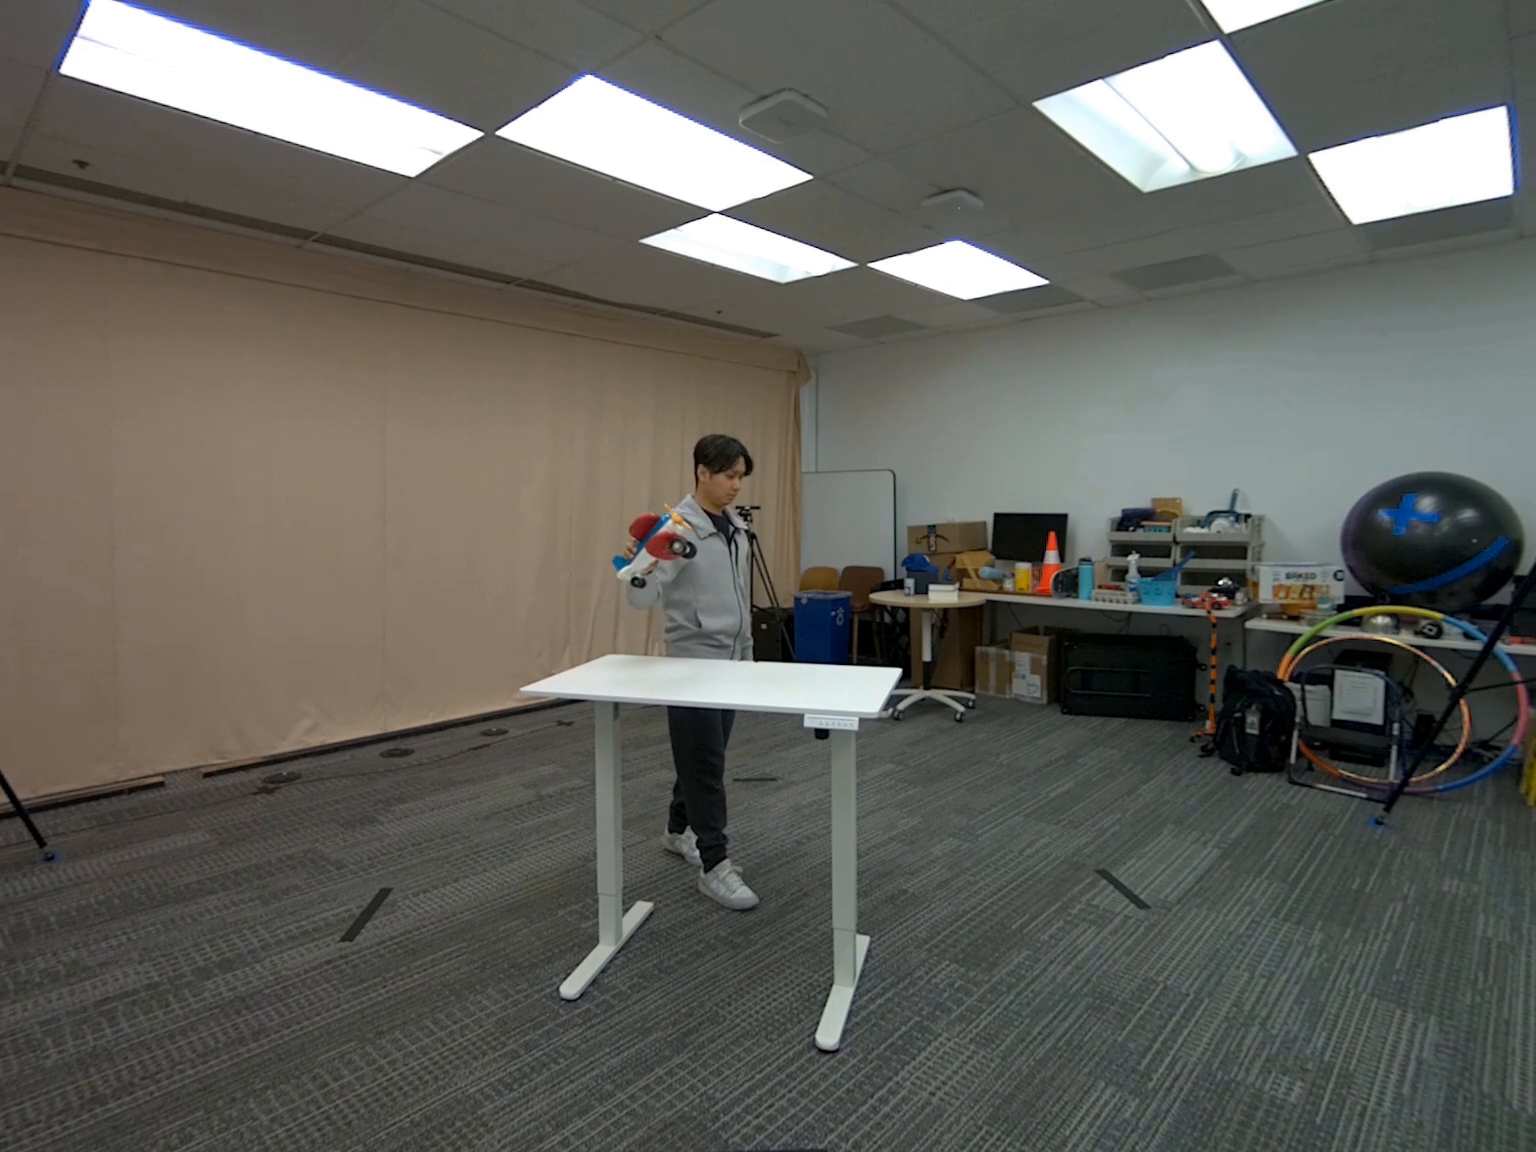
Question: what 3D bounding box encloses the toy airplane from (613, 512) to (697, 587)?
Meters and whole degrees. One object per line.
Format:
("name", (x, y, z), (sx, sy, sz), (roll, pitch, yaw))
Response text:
("toy airplane", (-0.361, -0.083, 2.559), (0.256, 0.159, 0.250), (-25, -15, -16))
